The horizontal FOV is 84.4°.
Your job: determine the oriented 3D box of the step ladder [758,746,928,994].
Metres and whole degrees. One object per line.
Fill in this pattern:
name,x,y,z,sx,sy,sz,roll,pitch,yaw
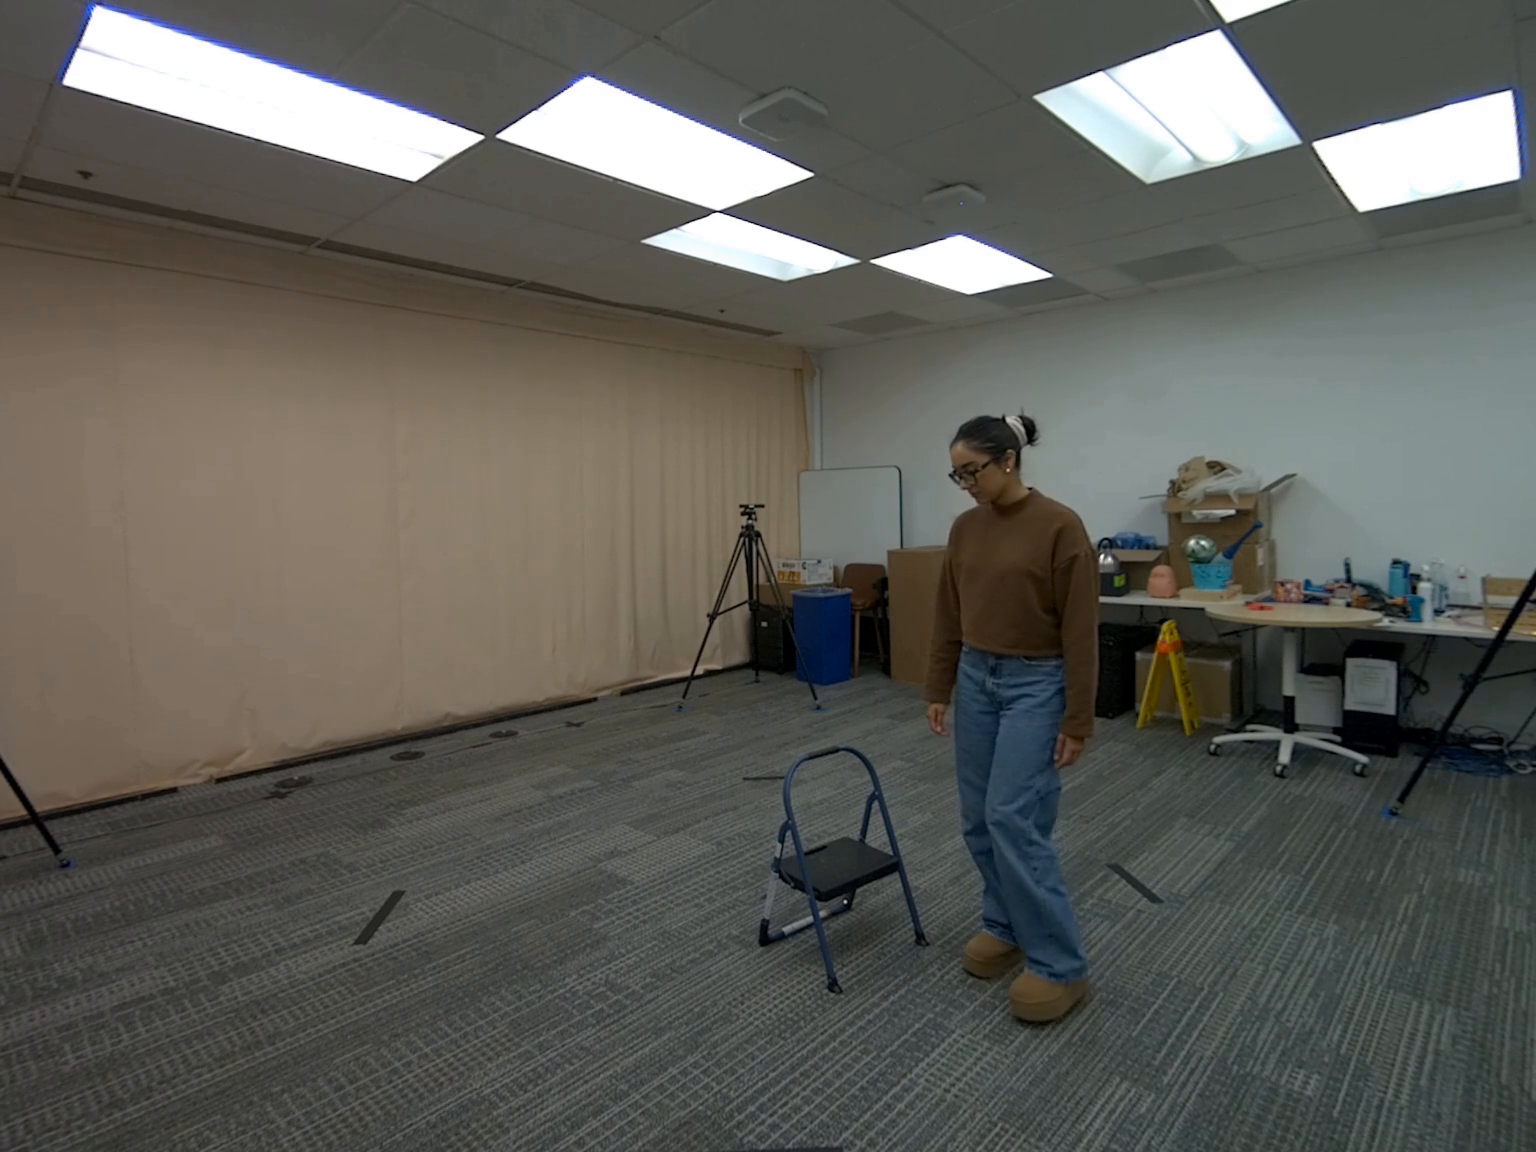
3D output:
step ladder,0.235,0.860,2.641,0.418,0.605,0.360,-4,4,-40
